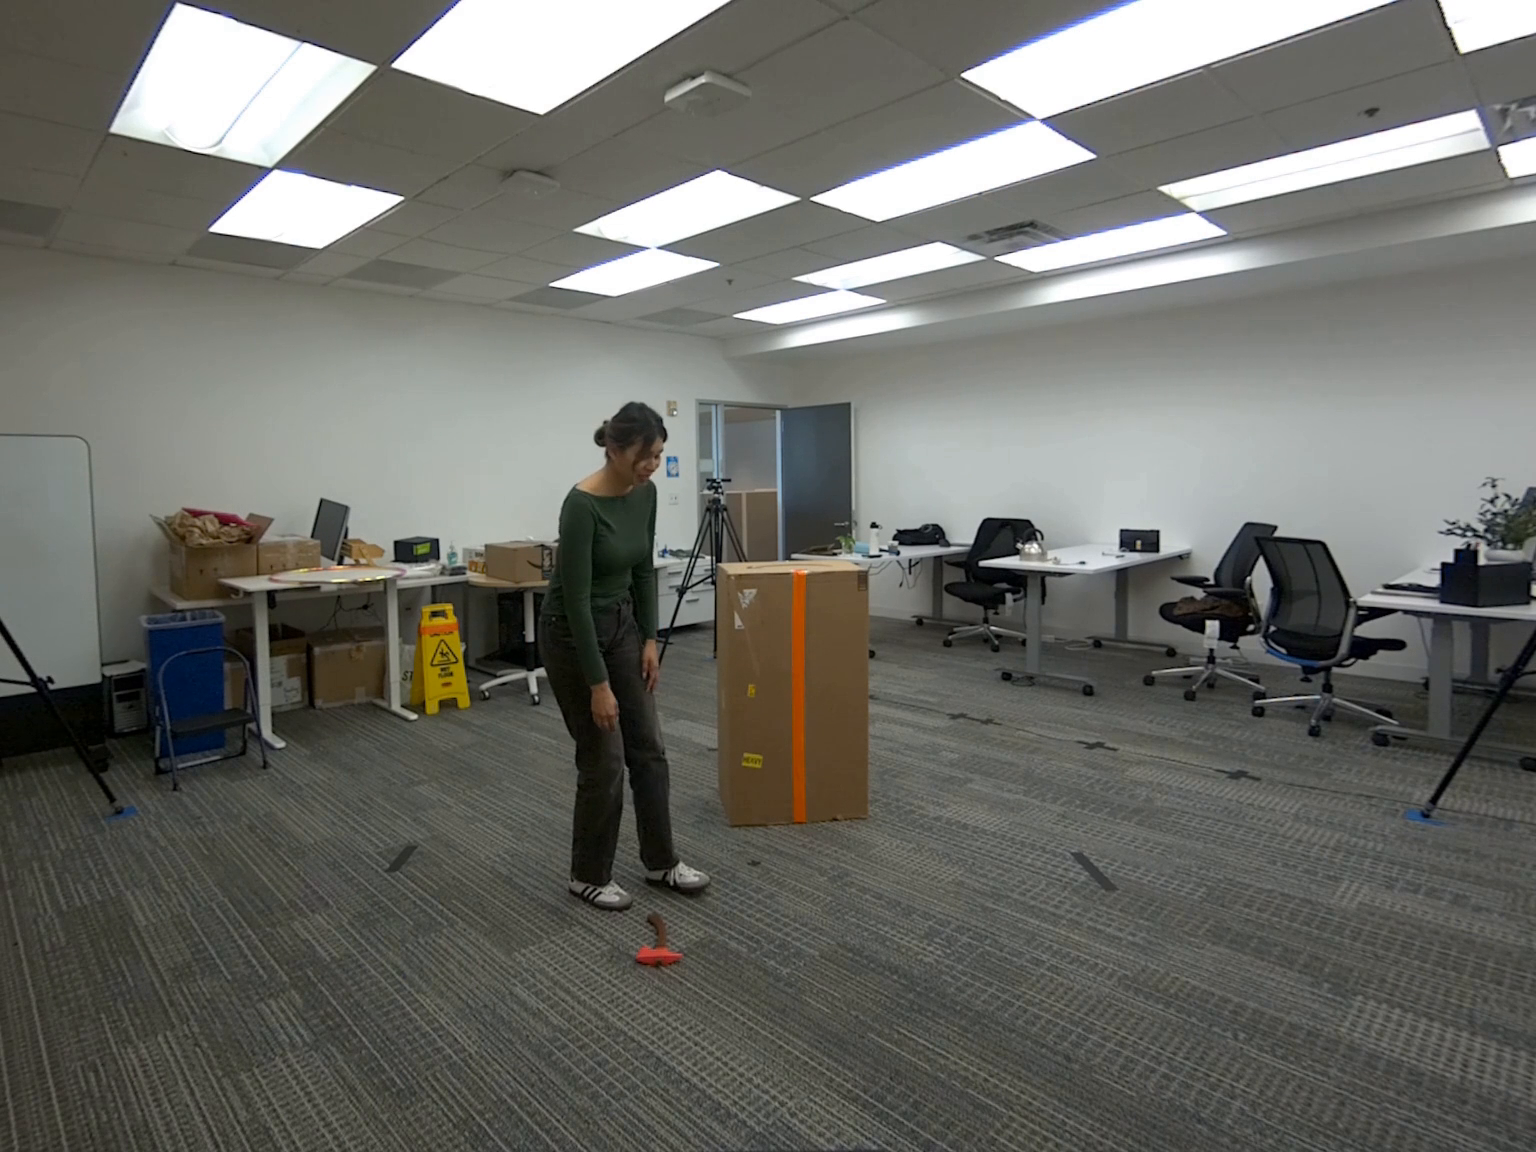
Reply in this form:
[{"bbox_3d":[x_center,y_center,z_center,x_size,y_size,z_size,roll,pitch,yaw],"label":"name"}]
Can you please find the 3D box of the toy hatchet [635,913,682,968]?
[{"bbox_3d":[-0.352,1.103,2.577,0.128,0.029,0.276,-5,7,-23],"label":"toy hatchet"}]
